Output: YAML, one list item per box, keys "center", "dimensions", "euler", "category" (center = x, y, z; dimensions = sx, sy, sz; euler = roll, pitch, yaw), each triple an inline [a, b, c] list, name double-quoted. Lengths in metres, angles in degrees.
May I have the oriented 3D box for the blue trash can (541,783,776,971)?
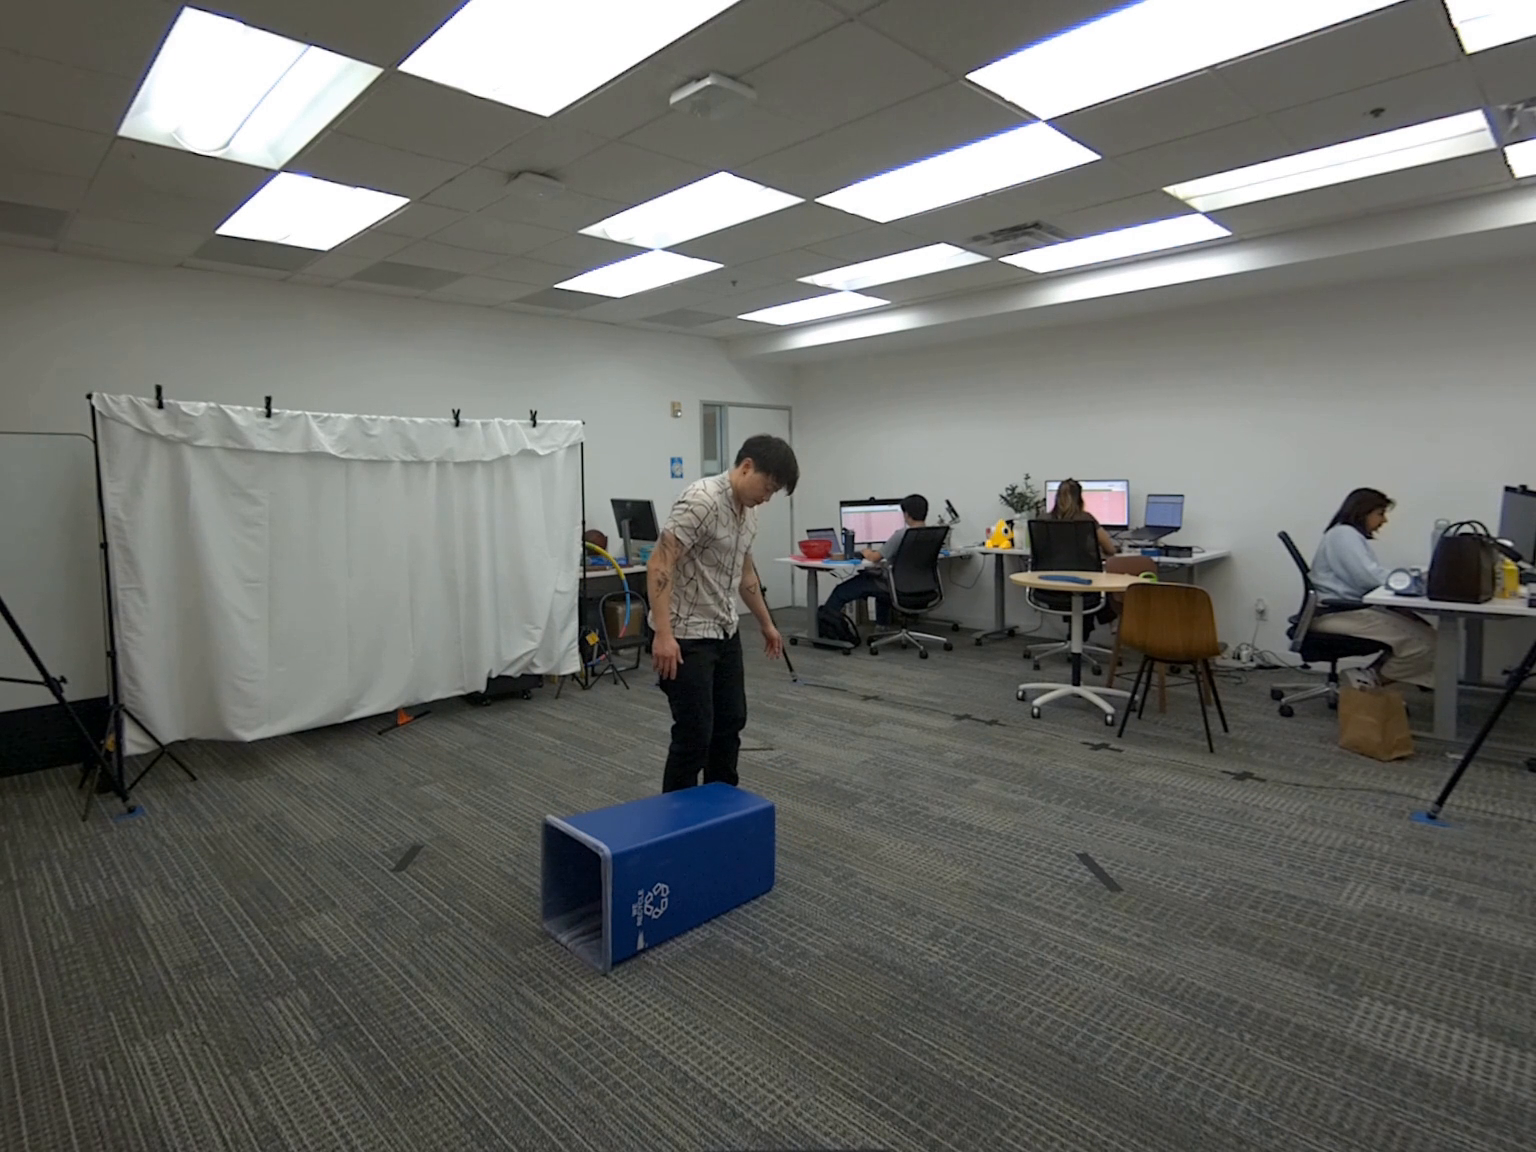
- center: [-0.326, 0.919, 2.776]
  dimensions: [0.694, 0.377, 0.385]
  euler: [-4, 6, -42]
  category: "blue trash can"
